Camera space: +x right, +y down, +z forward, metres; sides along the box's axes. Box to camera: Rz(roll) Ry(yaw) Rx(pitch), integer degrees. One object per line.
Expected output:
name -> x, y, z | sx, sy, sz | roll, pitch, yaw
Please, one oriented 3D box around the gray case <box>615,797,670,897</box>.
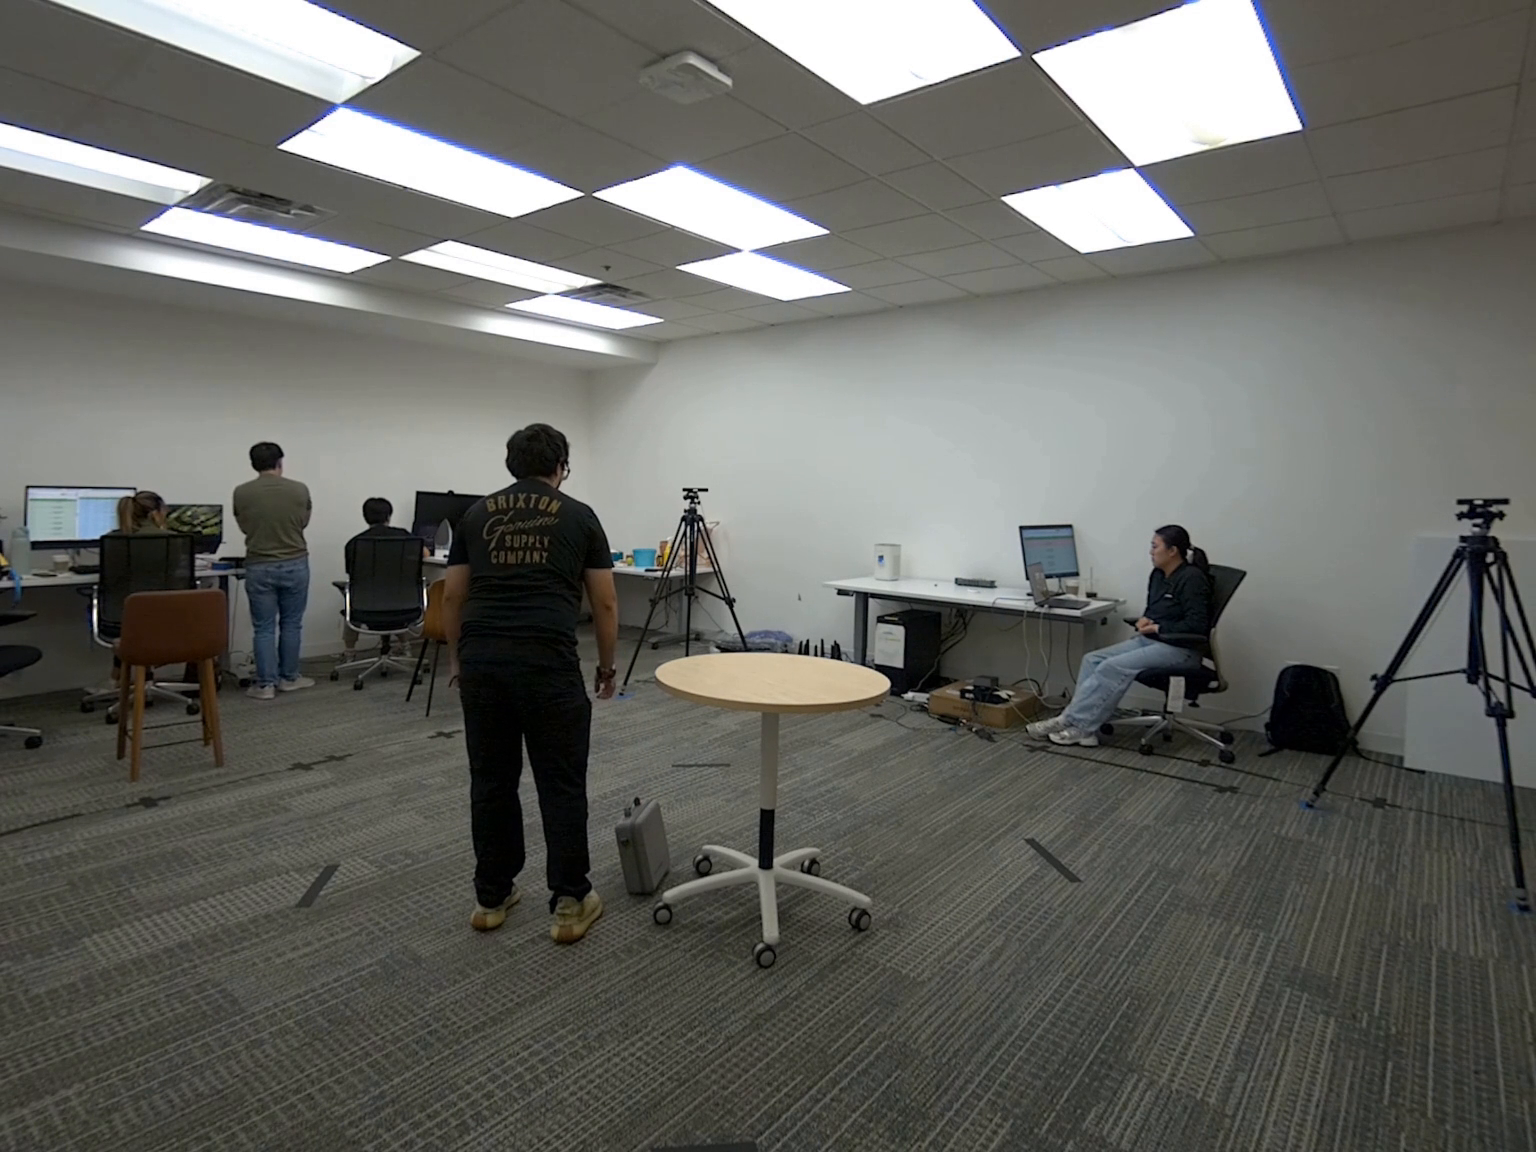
gray case -> -0.449, 0.941, 2.998 | 0.105, 0.261, 0.254 | -10, 0, 9
